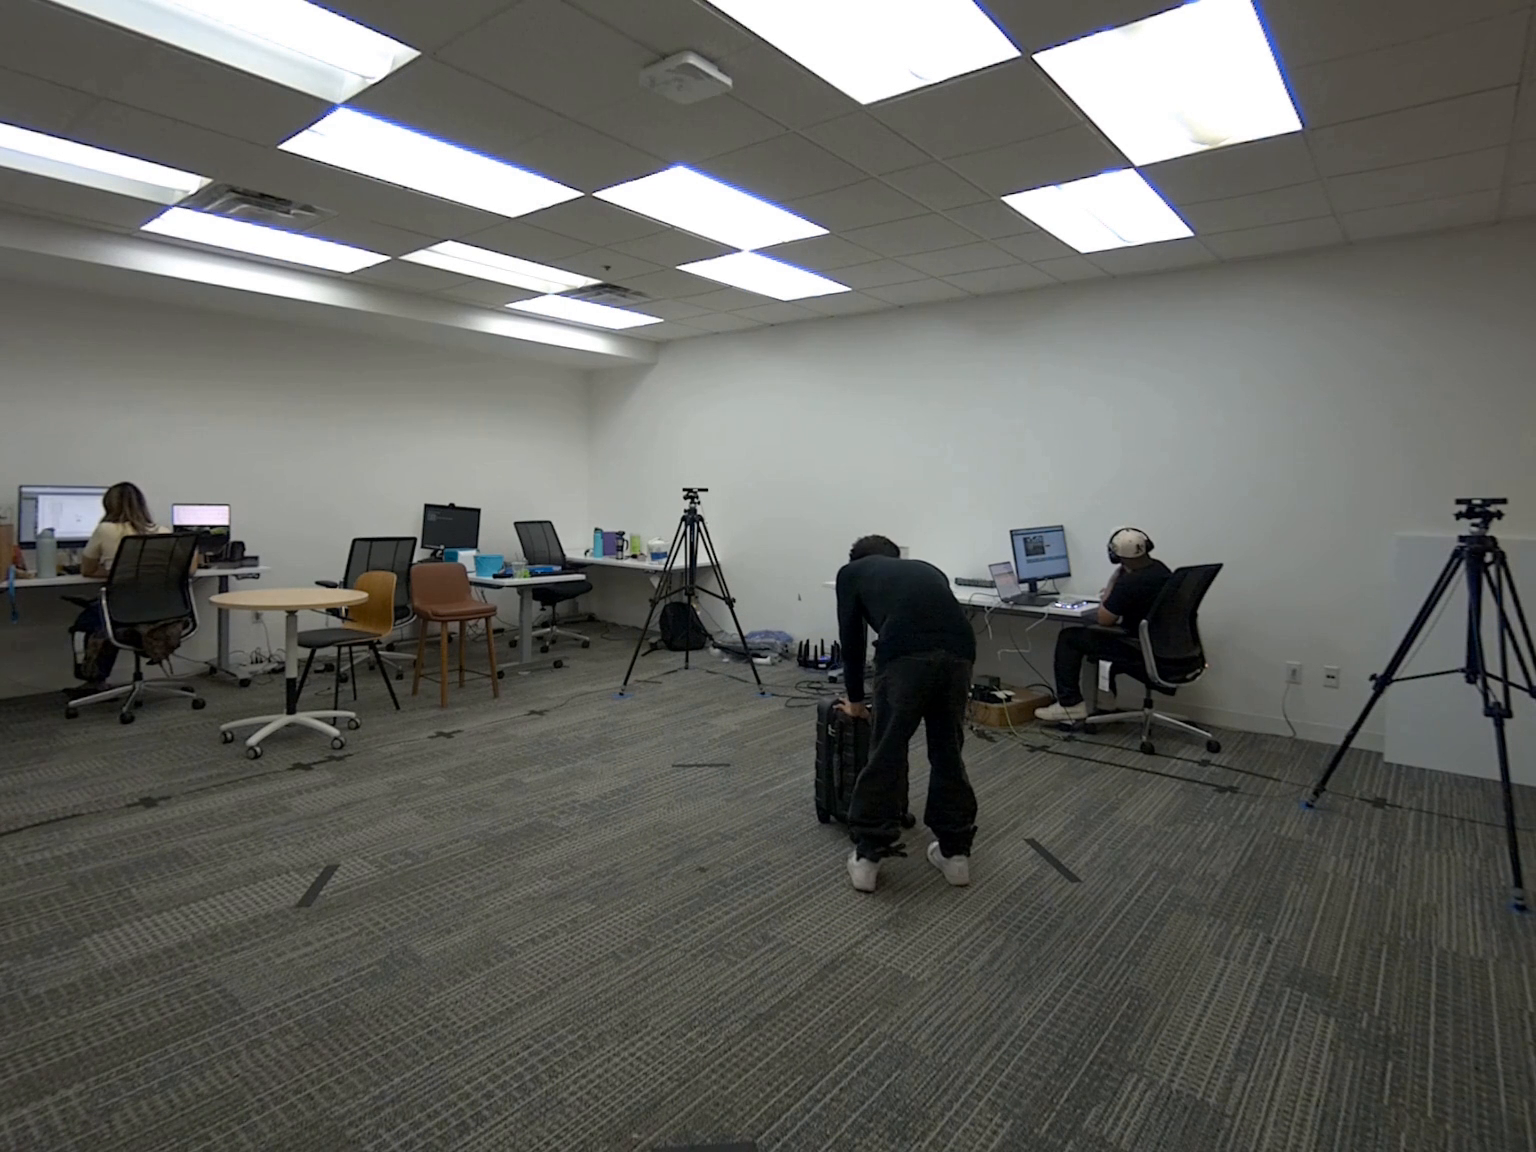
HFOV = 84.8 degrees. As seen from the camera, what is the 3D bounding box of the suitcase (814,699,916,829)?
[{"bbox_3d":[0.390,0.763,3.573,0.365,0.548,0.256,-3,3,-34],"label":"suitcase"}]
